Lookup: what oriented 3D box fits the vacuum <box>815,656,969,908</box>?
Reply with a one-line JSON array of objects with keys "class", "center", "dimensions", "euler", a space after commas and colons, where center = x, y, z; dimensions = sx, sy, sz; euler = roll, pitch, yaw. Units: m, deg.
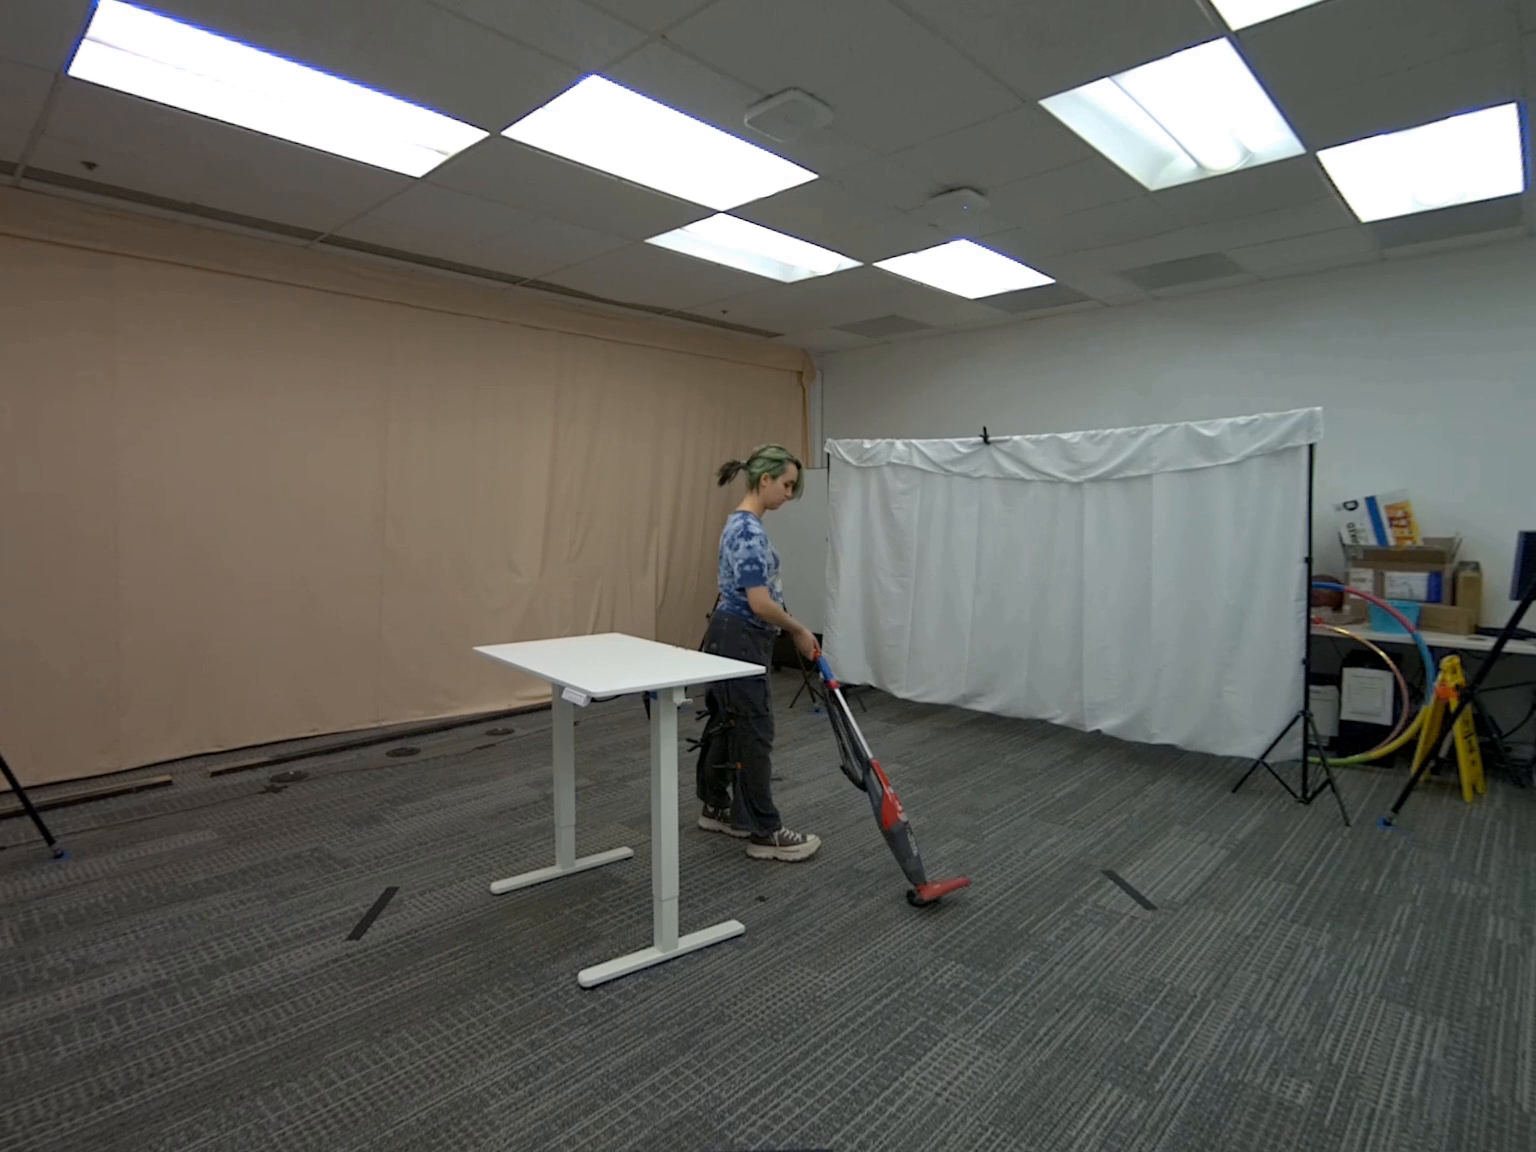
[{"class": "vacuum", "center": [0.375, 0.712, 3.175], "dimensions": [0.244, 1.078, 0.145], "euler": [3, -42, -42]}]
